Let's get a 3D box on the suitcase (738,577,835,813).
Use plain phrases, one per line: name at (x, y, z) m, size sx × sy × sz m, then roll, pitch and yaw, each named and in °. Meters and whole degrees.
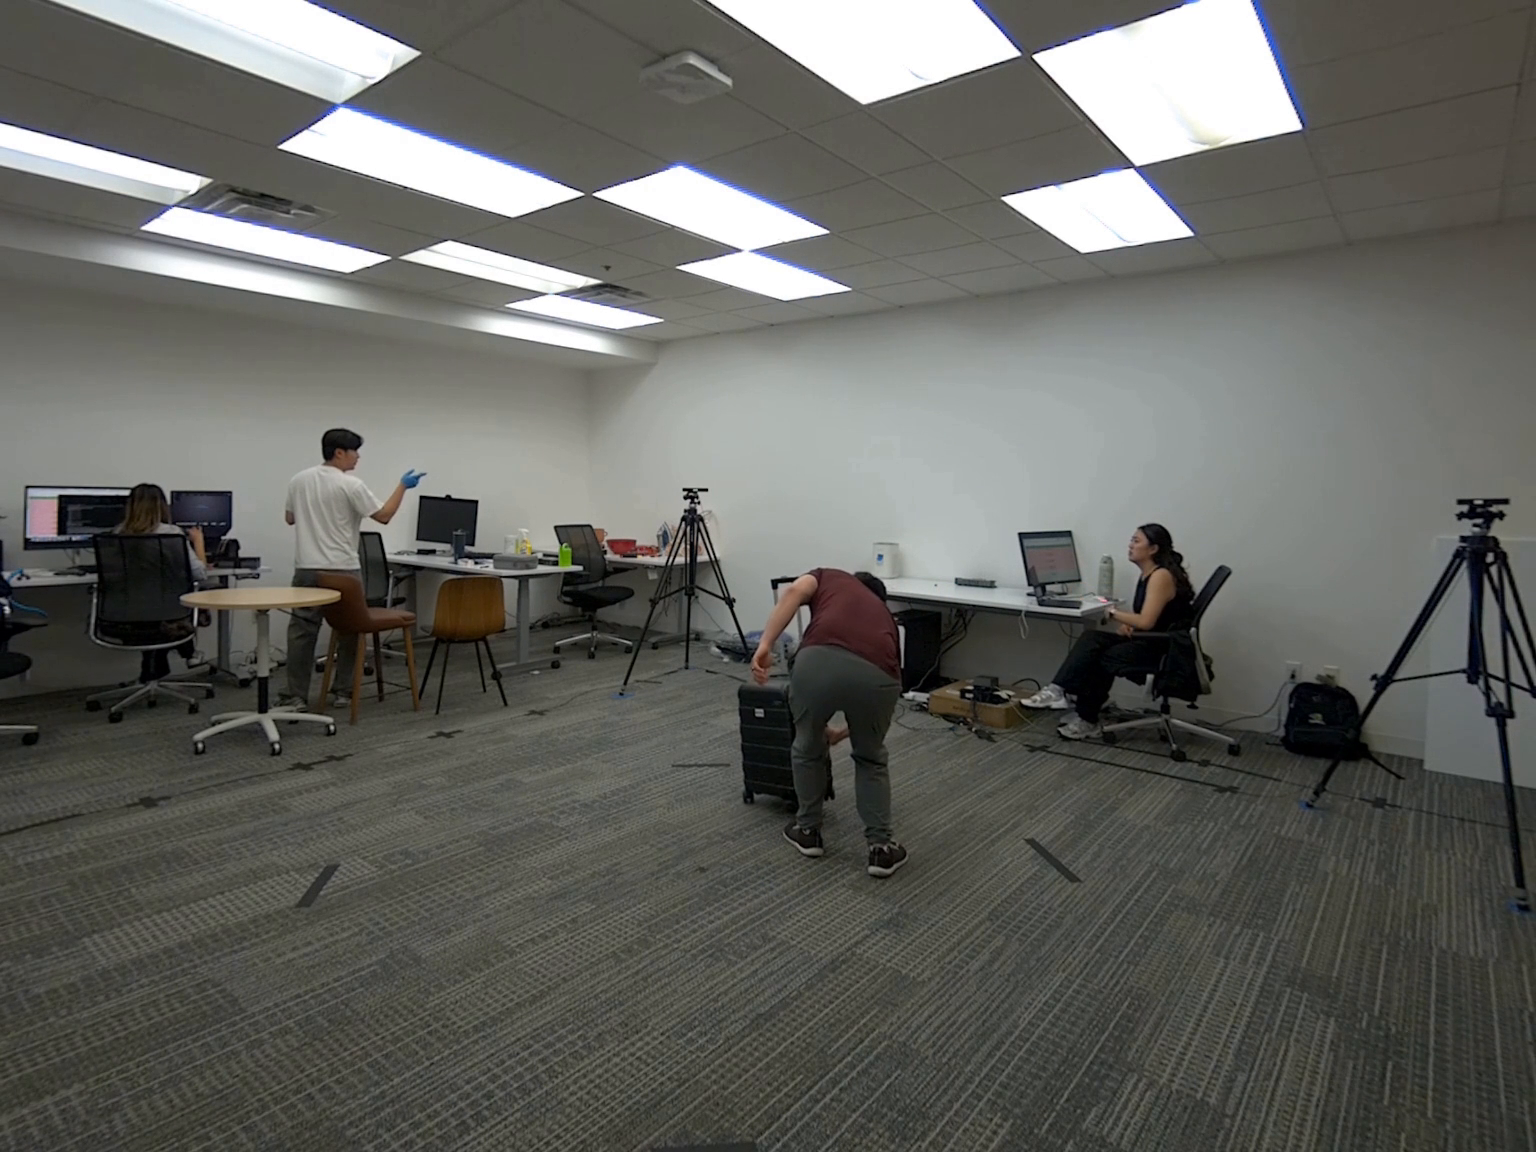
suitcase at (0.038, 0.511, 3.764) m, size 0.249 × 0.981 × 0.394 m, roll -4°, pitch -3°, yaw -42°
